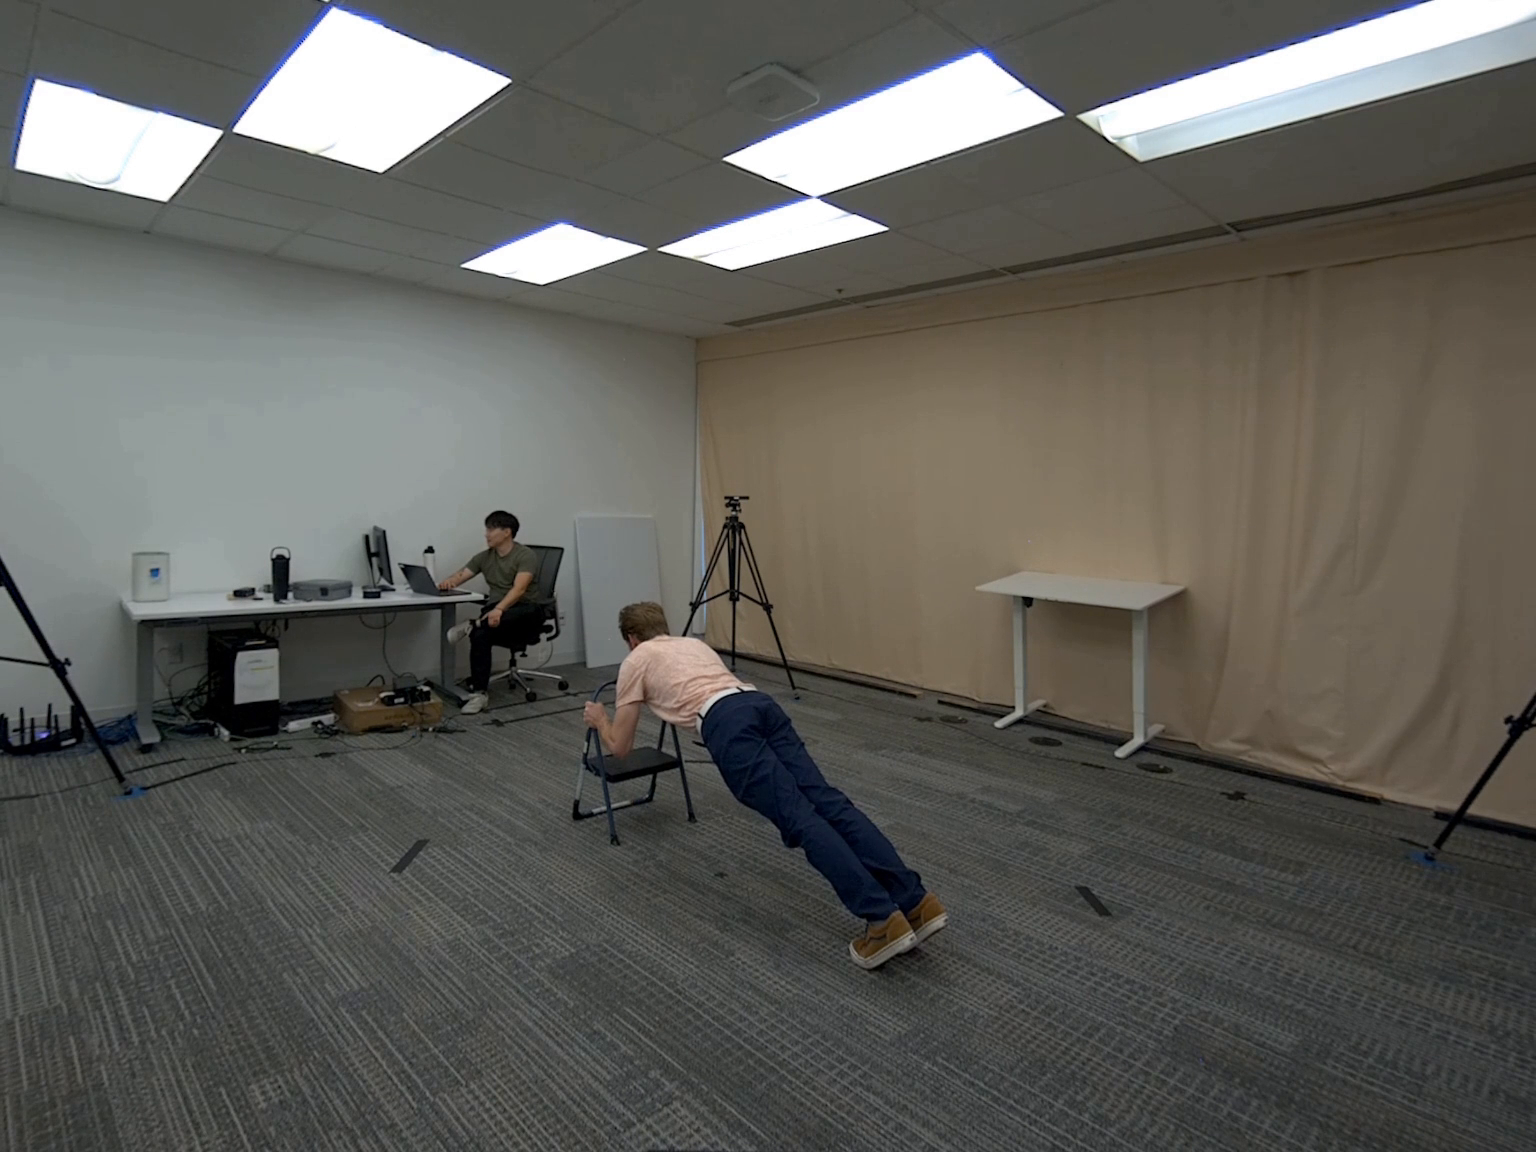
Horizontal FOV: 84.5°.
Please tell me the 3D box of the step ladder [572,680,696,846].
[{"bbox_3d":[-0.576,0.751,3.597,0.421,0.605,0.358,-2,4,-43],"label":"step ladder"}]
